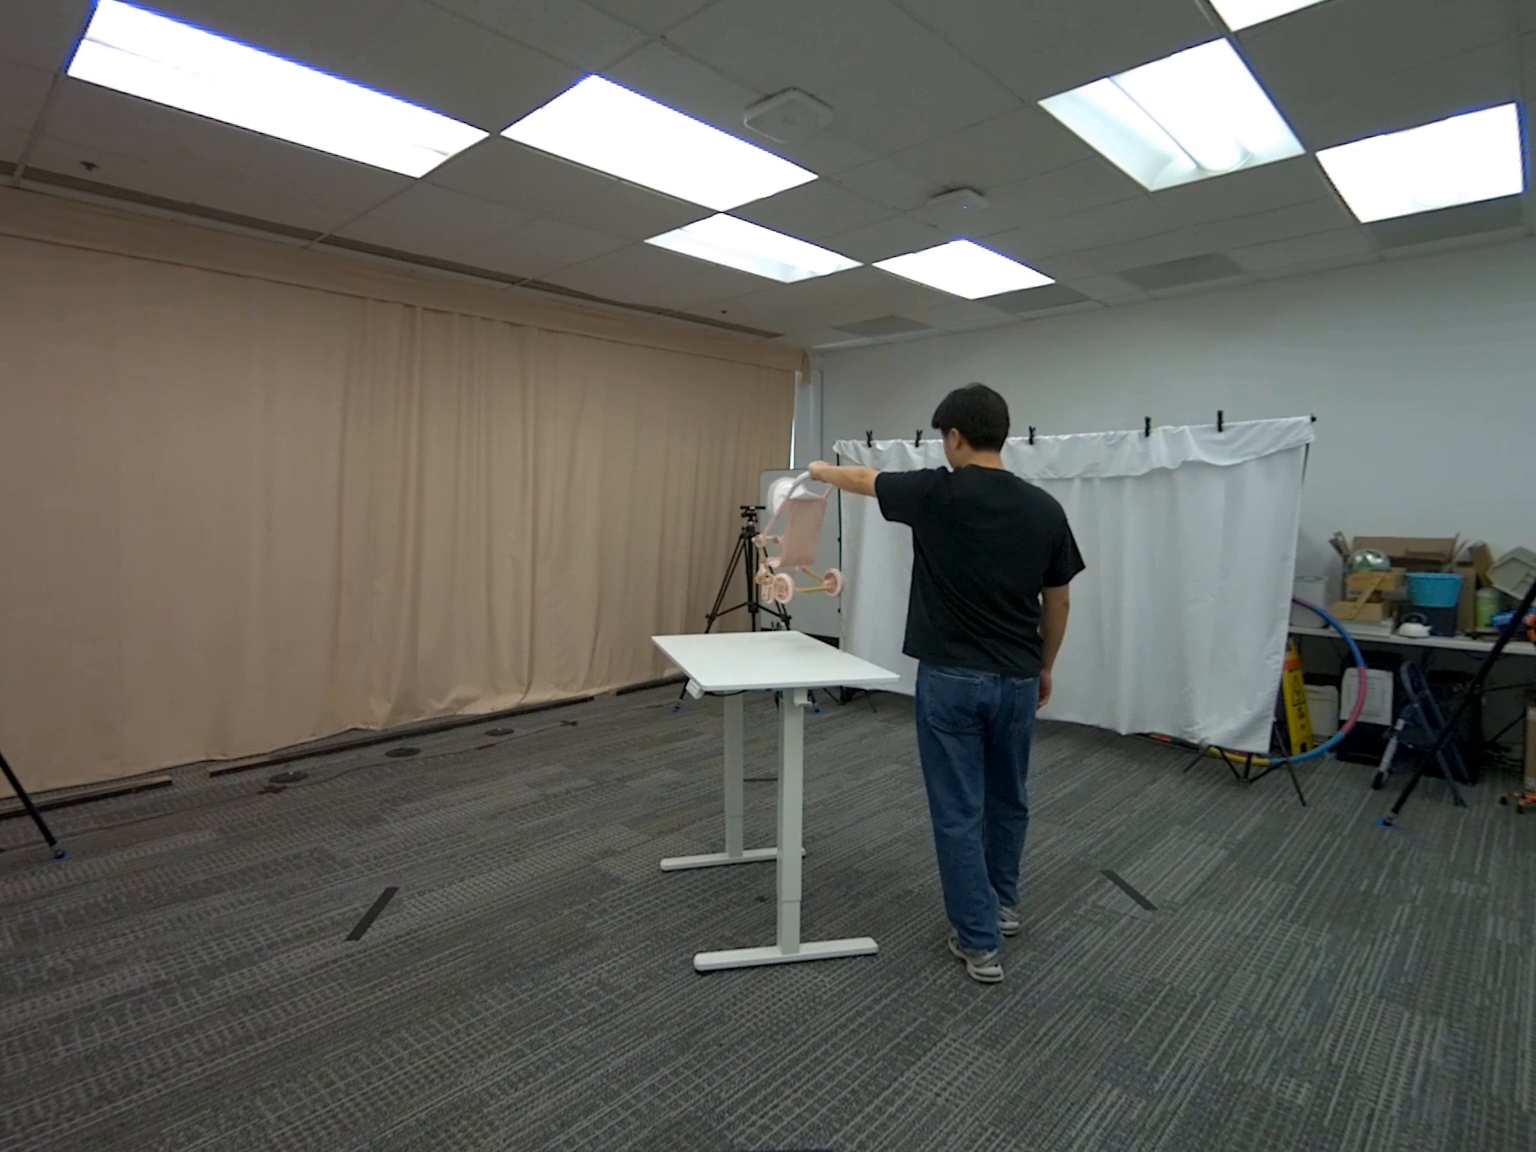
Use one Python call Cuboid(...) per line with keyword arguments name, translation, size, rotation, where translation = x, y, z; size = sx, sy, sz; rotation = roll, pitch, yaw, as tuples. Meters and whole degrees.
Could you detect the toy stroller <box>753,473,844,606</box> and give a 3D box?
Cuboid(name="toy stroller", translation=(0.104, -0.133, 3.197), size=(0.274, 0.532, 0.352), rotation=(-4, 9, -33))
